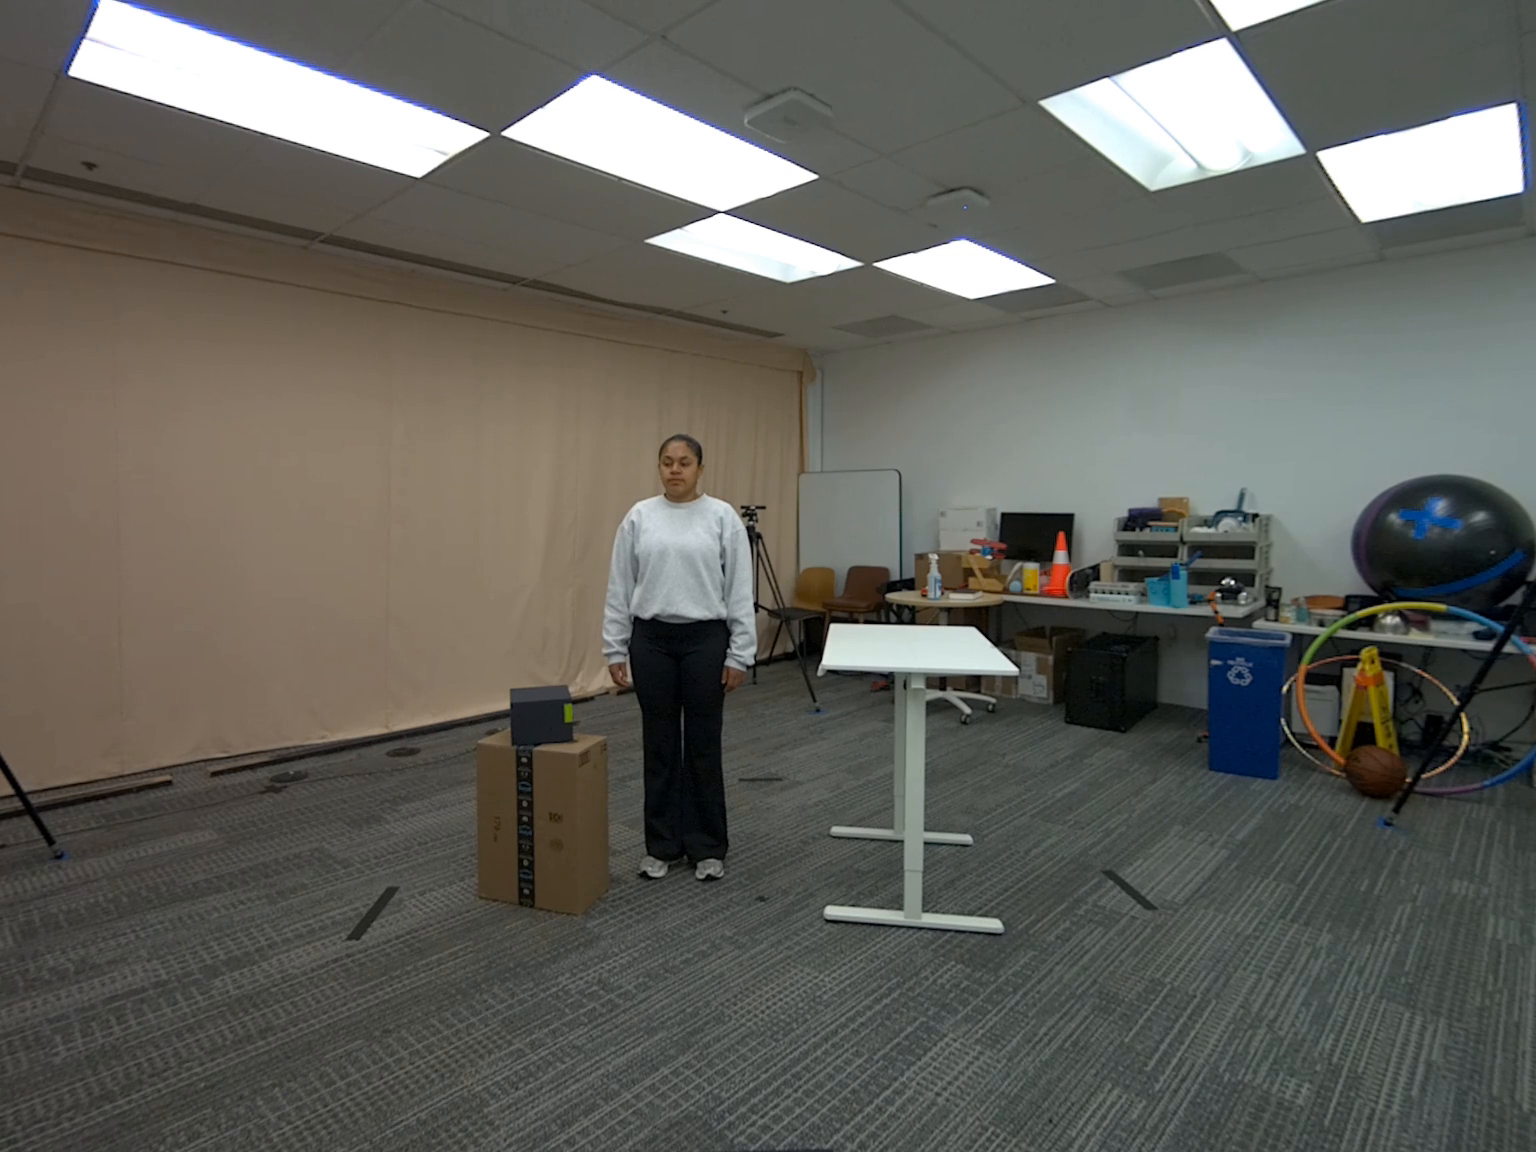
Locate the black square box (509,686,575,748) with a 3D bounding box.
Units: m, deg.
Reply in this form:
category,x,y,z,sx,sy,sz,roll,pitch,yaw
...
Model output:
category,x,y,z,sx,sy,sz,roll,pitch,yaw
black square box,-0.823,0.503,3.056,0.213,0.155,0.232,-2,4,-16
